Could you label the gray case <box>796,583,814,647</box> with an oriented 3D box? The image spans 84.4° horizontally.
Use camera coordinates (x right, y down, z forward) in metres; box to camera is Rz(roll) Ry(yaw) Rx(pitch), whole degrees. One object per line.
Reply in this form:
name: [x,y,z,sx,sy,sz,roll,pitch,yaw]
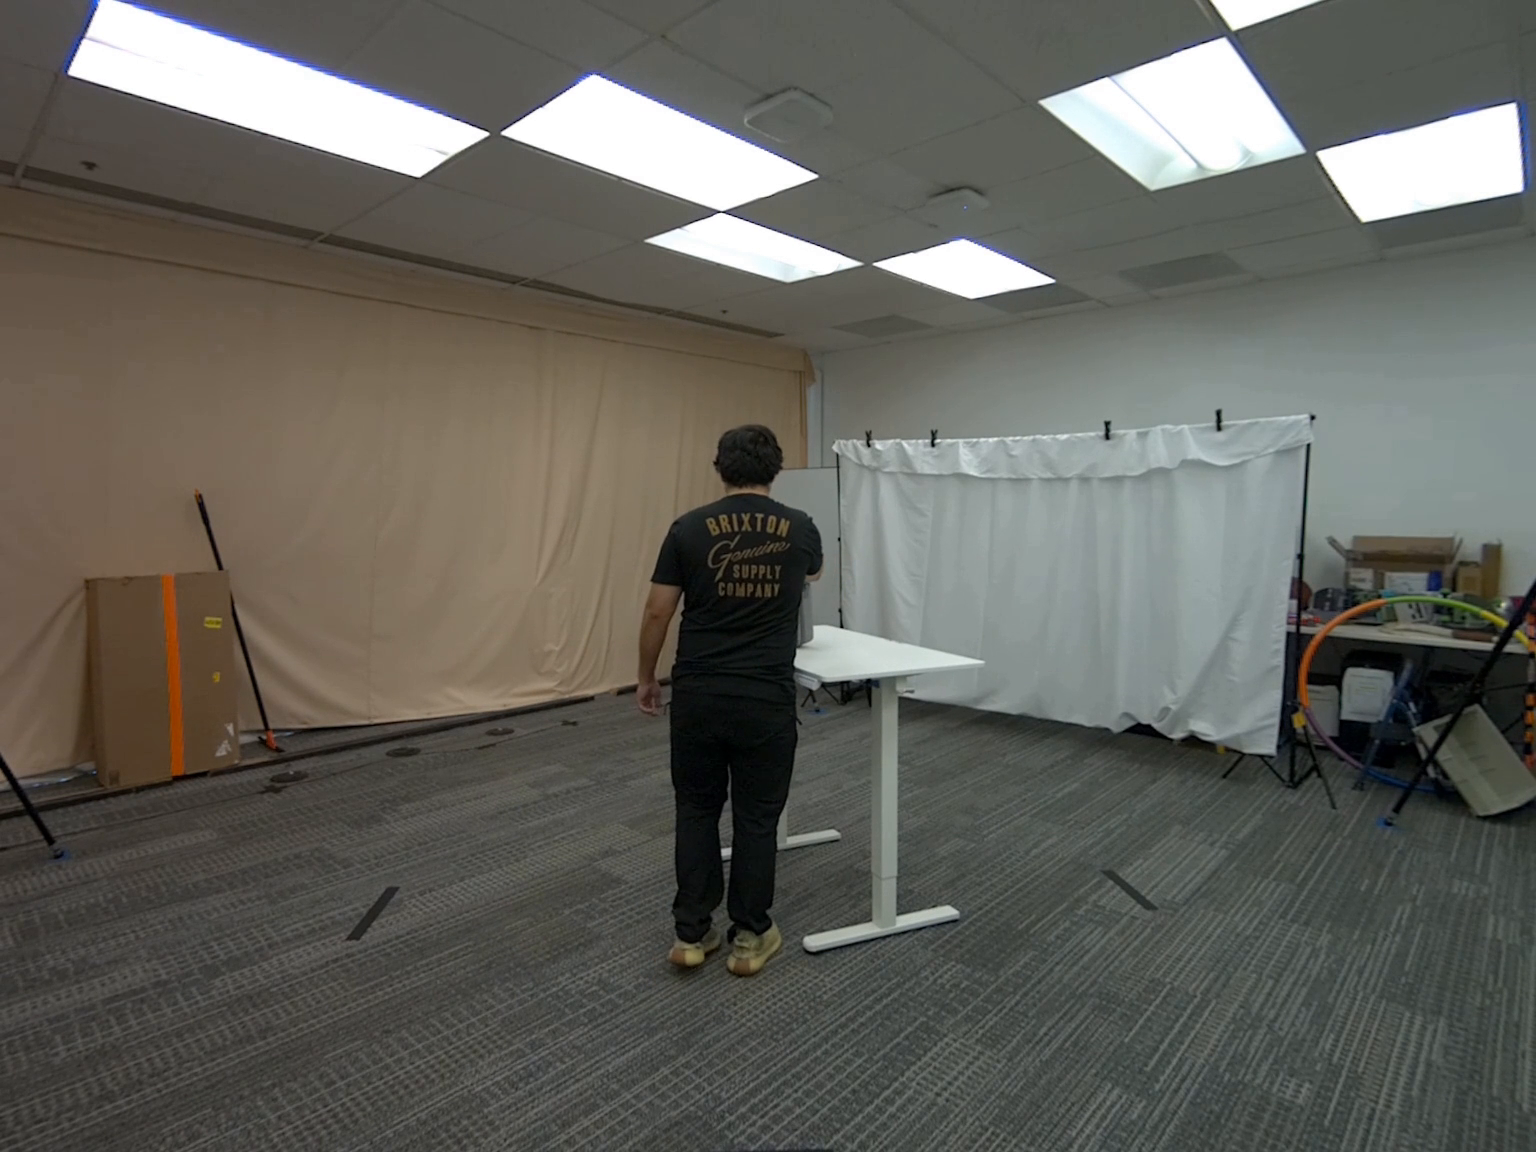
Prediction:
gray case: [0.042,0.115,3.074,0.101,0.260,0.265,-3,2,-44]
